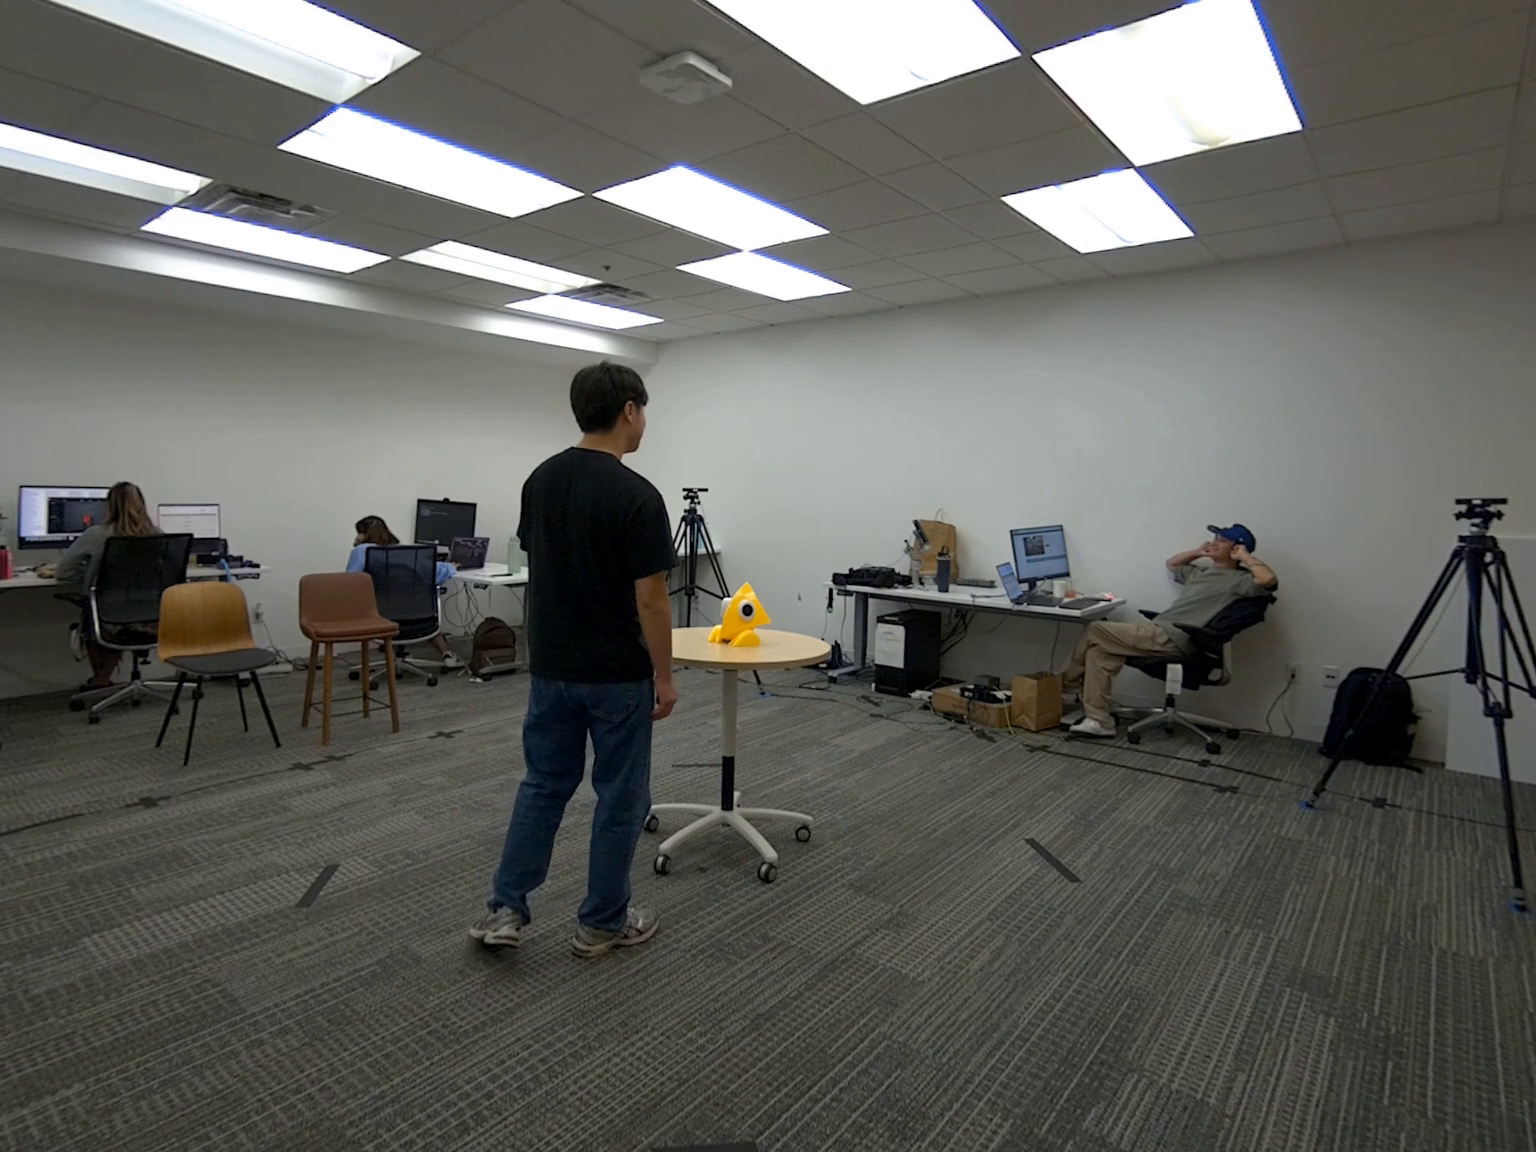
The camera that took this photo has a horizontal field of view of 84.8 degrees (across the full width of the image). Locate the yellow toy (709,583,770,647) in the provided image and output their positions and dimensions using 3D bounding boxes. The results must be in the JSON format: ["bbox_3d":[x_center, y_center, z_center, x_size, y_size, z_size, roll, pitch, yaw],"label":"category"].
[{"bbox_3d":[-0.133,0.140,3.330,0.211,0.230,0.187,4,5,39],"label":"yellow toy"}]
